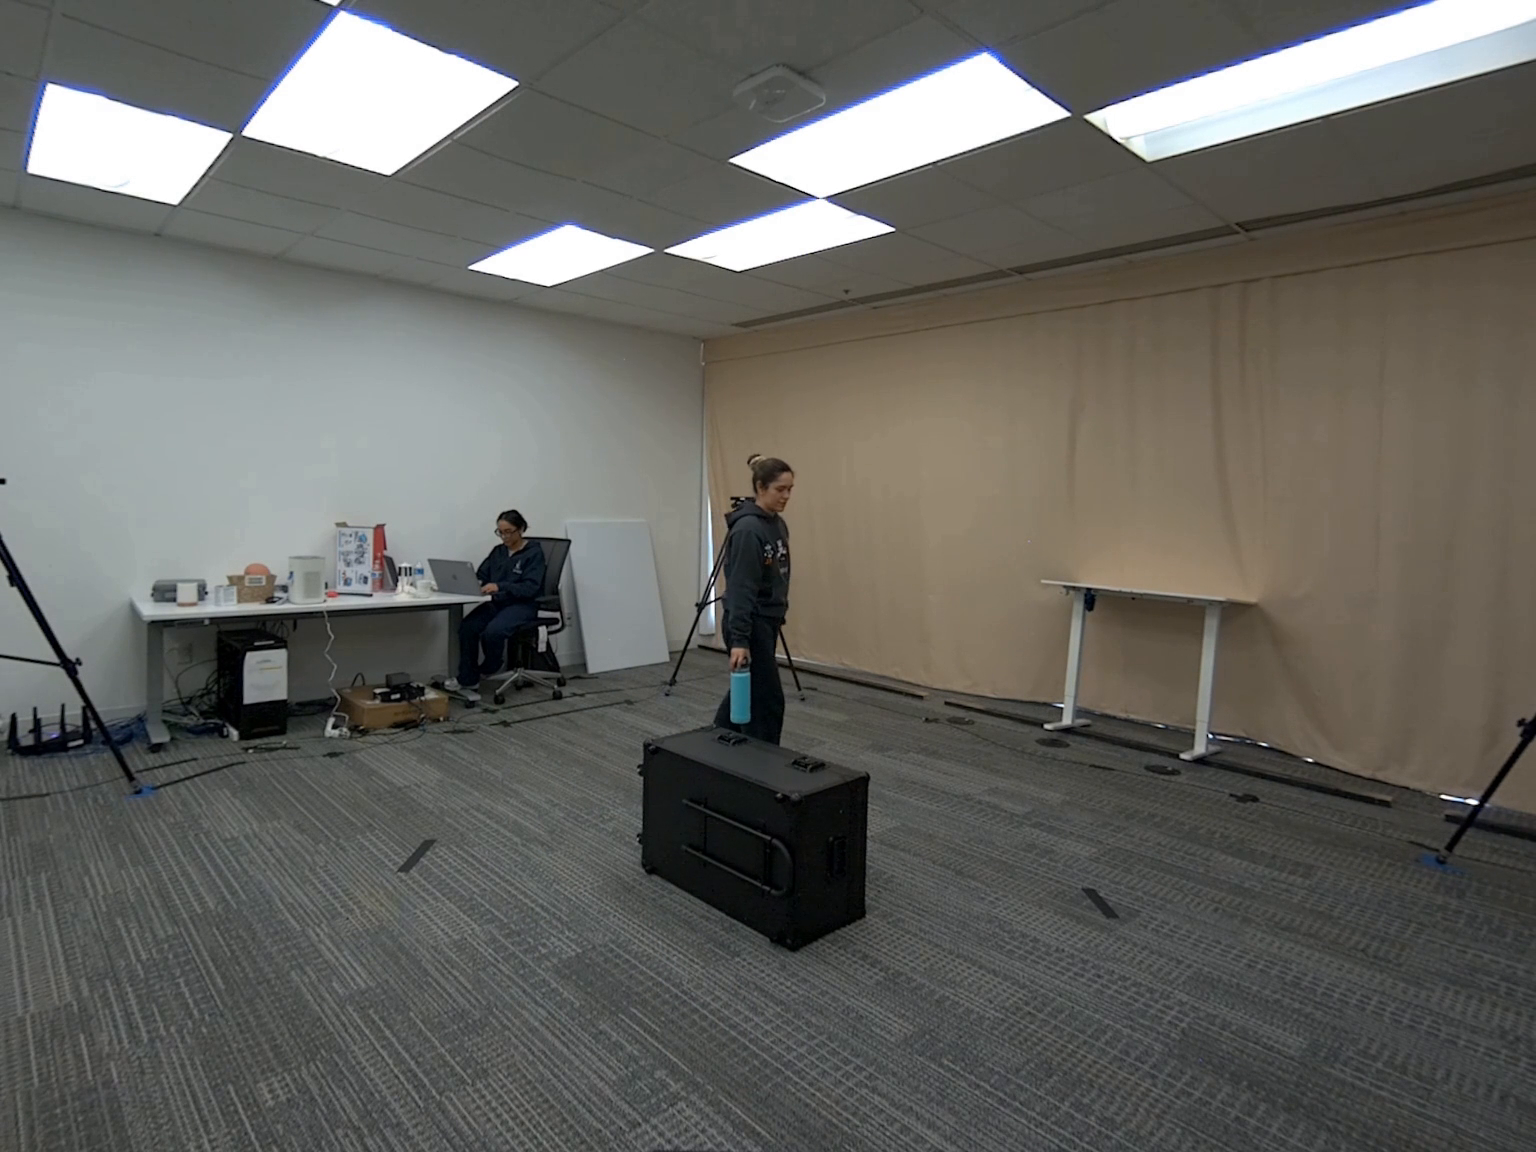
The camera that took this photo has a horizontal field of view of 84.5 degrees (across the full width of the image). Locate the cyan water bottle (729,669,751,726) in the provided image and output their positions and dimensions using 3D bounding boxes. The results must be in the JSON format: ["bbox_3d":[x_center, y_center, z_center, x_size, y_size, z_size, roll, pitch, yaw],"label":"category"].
[{"bbox_3d":[-0.131,0.498,3.755,0.092,0.282,0.093,0,7,-1],"label":"cyan water bottle"}]
